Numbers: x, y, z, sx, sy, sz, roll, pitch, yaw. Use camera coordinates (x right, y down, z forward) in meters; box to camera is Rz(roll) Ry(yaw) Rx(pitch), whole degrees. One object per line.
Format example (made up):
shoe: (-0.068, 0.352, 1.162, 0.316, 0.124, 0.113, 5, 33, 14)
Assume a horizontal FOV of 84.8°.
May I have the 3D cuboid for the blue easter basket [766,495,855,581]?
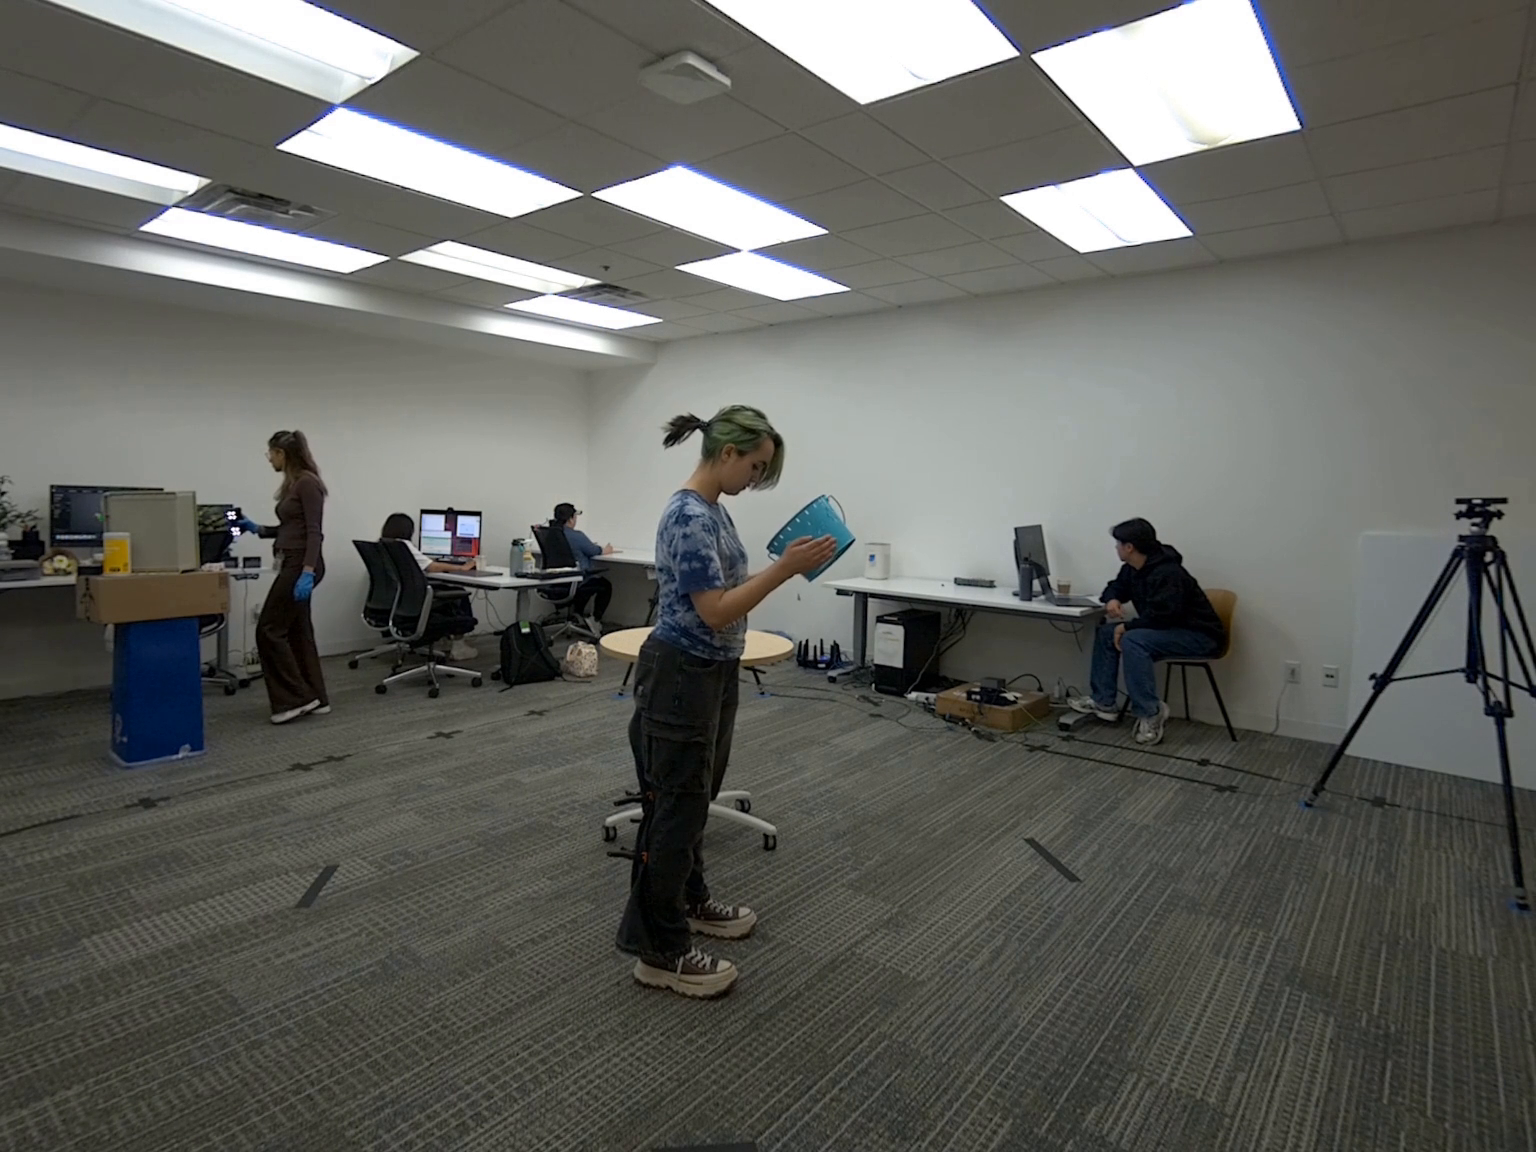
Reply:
blue easter basket: (0.119, -0.099, 2.420, 0.243, 0.158, 0.241, -42, -7, -10)
